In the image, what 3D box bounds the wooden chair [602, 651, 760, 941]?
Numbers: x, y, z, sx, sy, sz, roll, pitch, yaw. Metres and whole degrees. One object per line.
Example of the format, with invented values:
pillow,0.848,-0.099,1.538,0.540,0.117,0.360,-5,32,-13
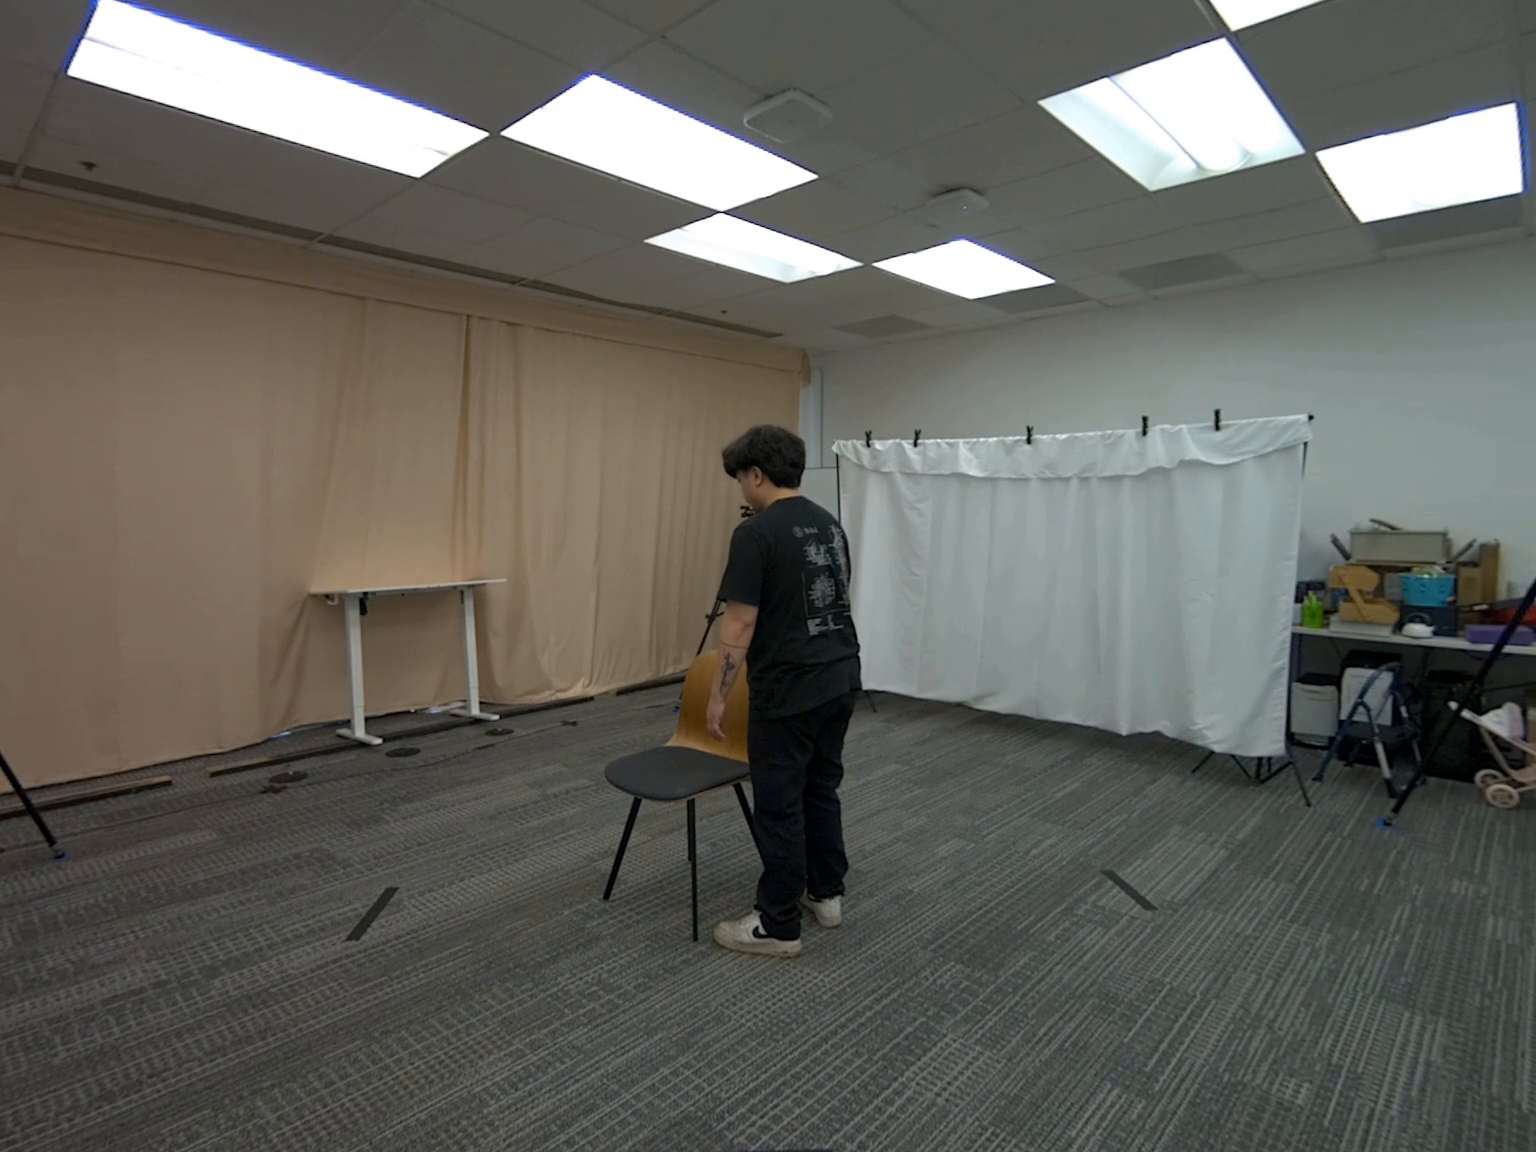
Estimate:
wooden chair,-0.276,0.718,2.972,0.494,0.877,0.506,3,0,40
